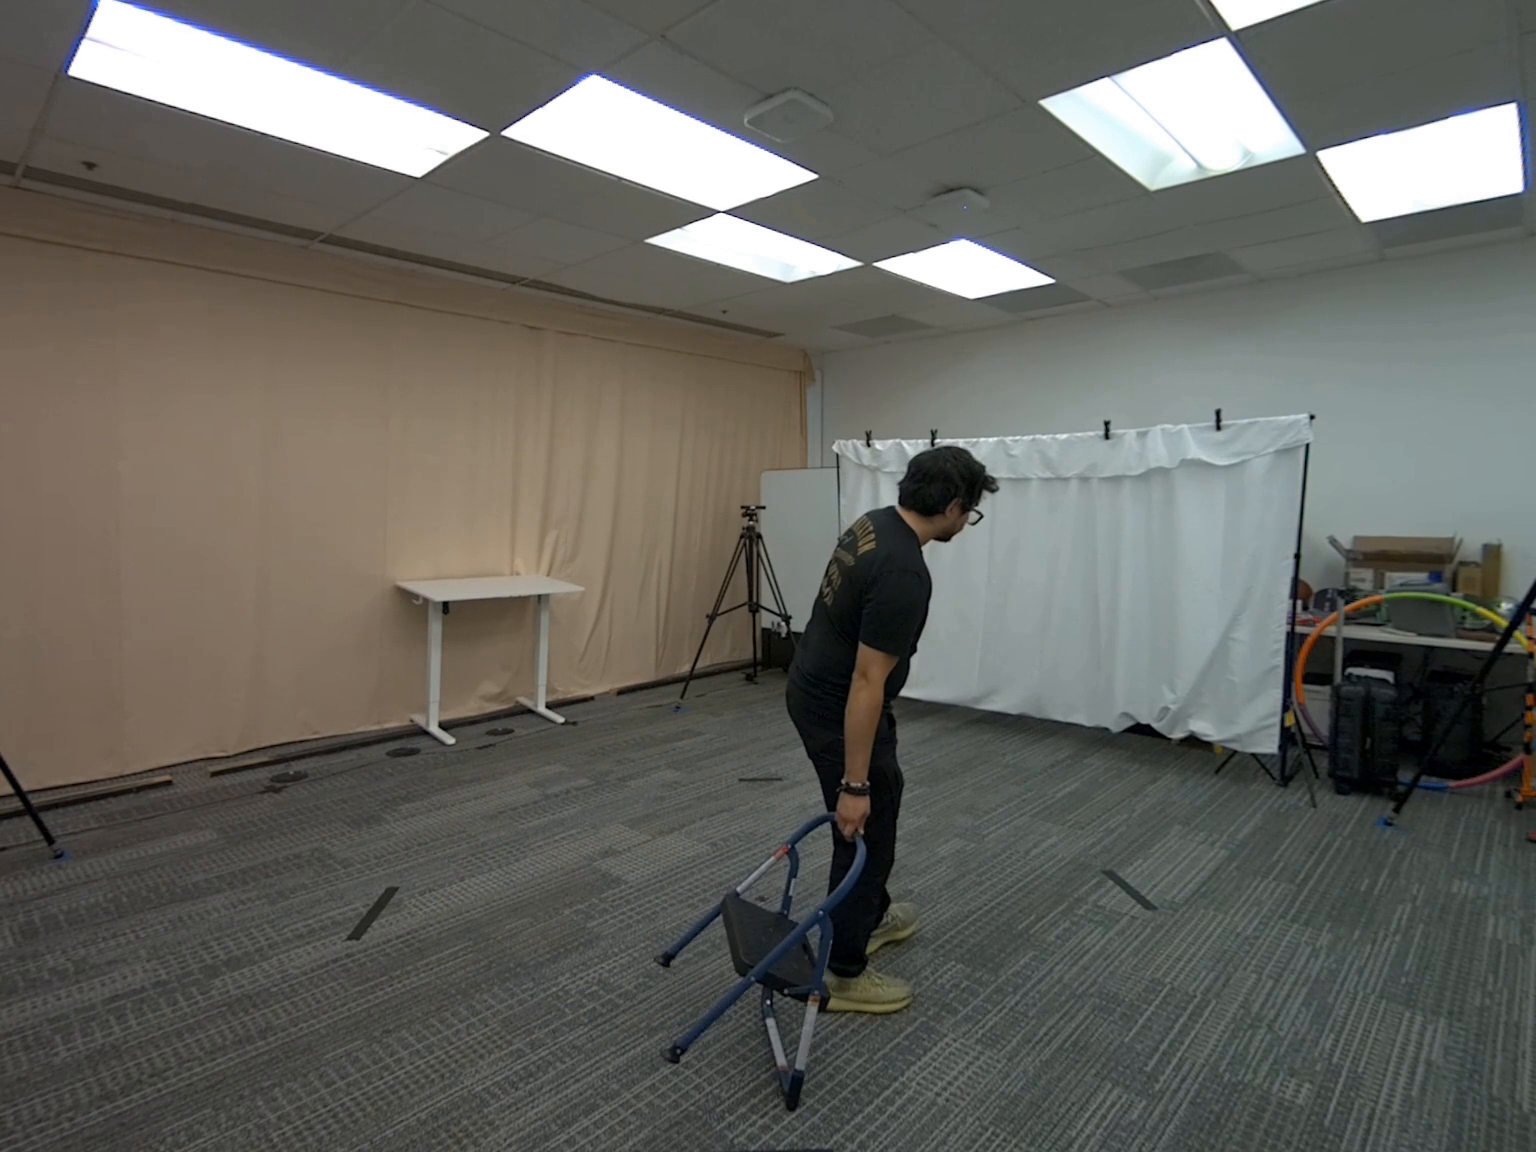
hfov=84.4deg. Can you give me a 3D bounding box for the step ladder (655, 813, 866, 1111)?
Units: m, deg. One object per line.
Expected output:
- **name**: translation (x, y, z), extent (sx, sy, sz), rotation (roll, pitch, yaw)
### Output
- **step ladder**: translation (0.021, 0.880, 2.108), extent (0.346, 0.606, 0.435), rotation (26, 1, -9)
